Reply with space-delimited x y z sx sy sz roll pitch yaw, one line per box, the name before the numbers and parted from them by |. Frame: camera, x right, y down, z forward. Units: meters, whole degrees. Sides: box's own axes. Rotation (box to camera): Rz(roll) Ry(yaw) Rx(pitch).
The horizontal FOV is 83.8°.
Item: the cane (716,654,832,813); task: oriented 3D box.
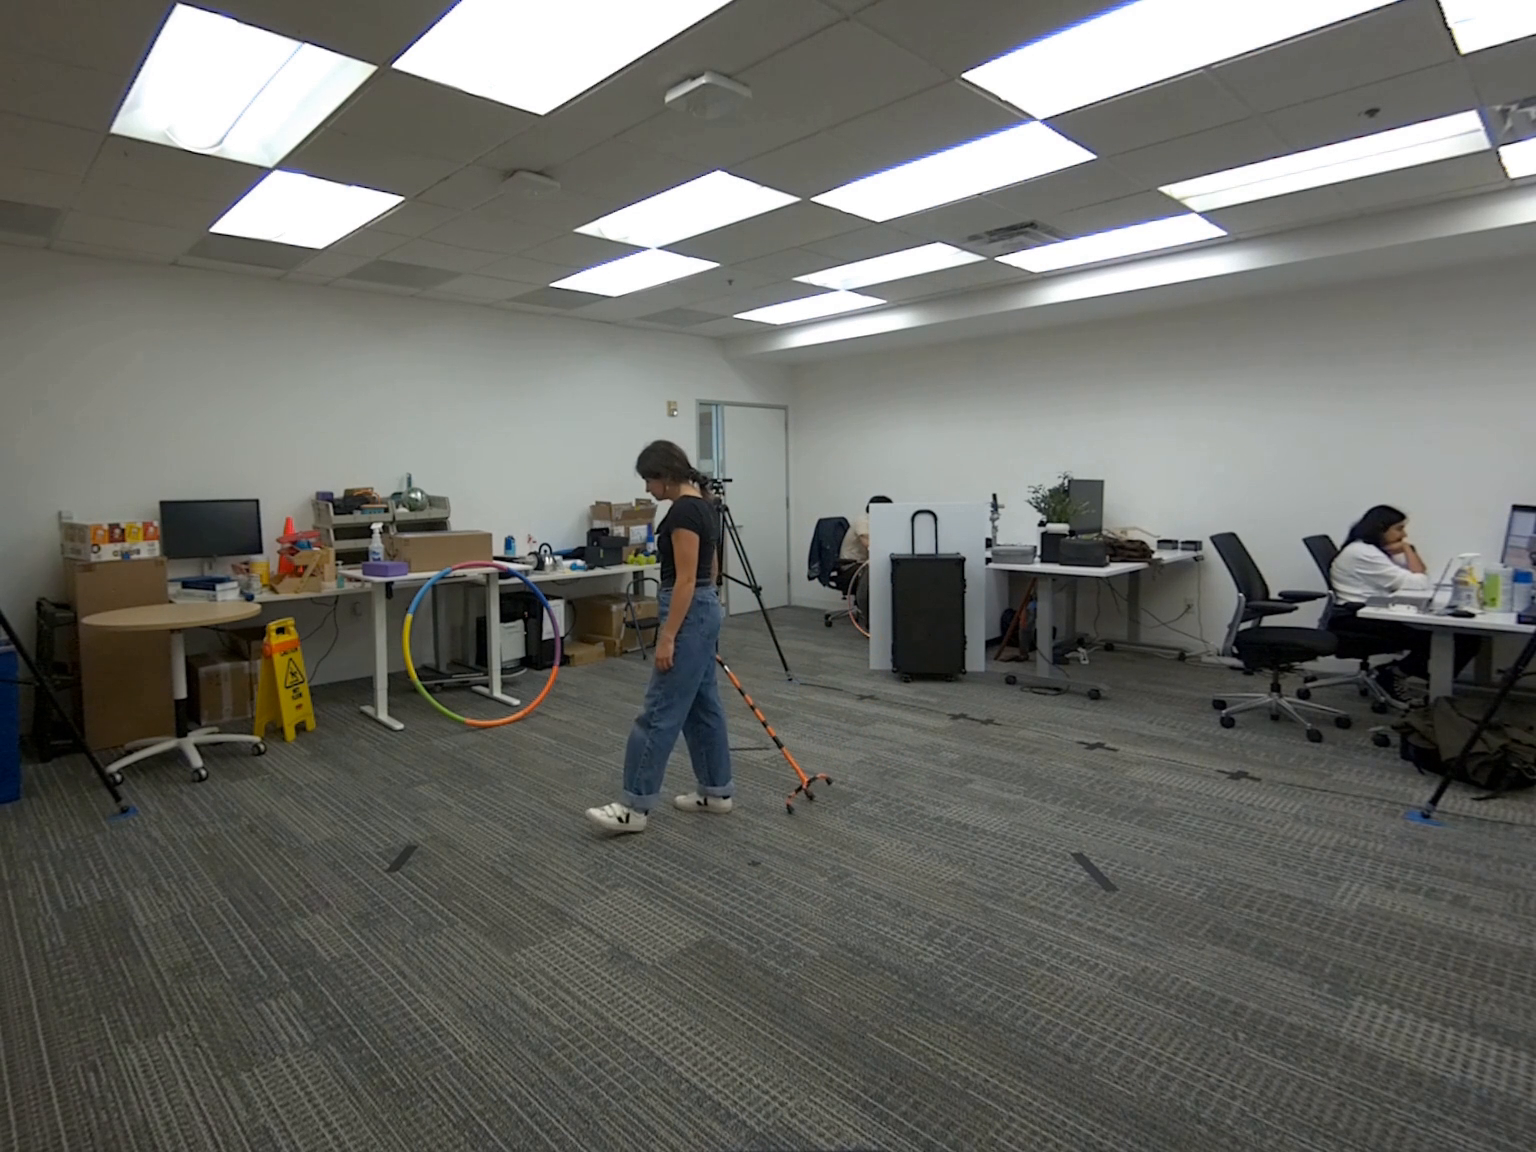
cane | -0.075 0.590 3.767 0.151 0.933 0.201 -47 -24 24
